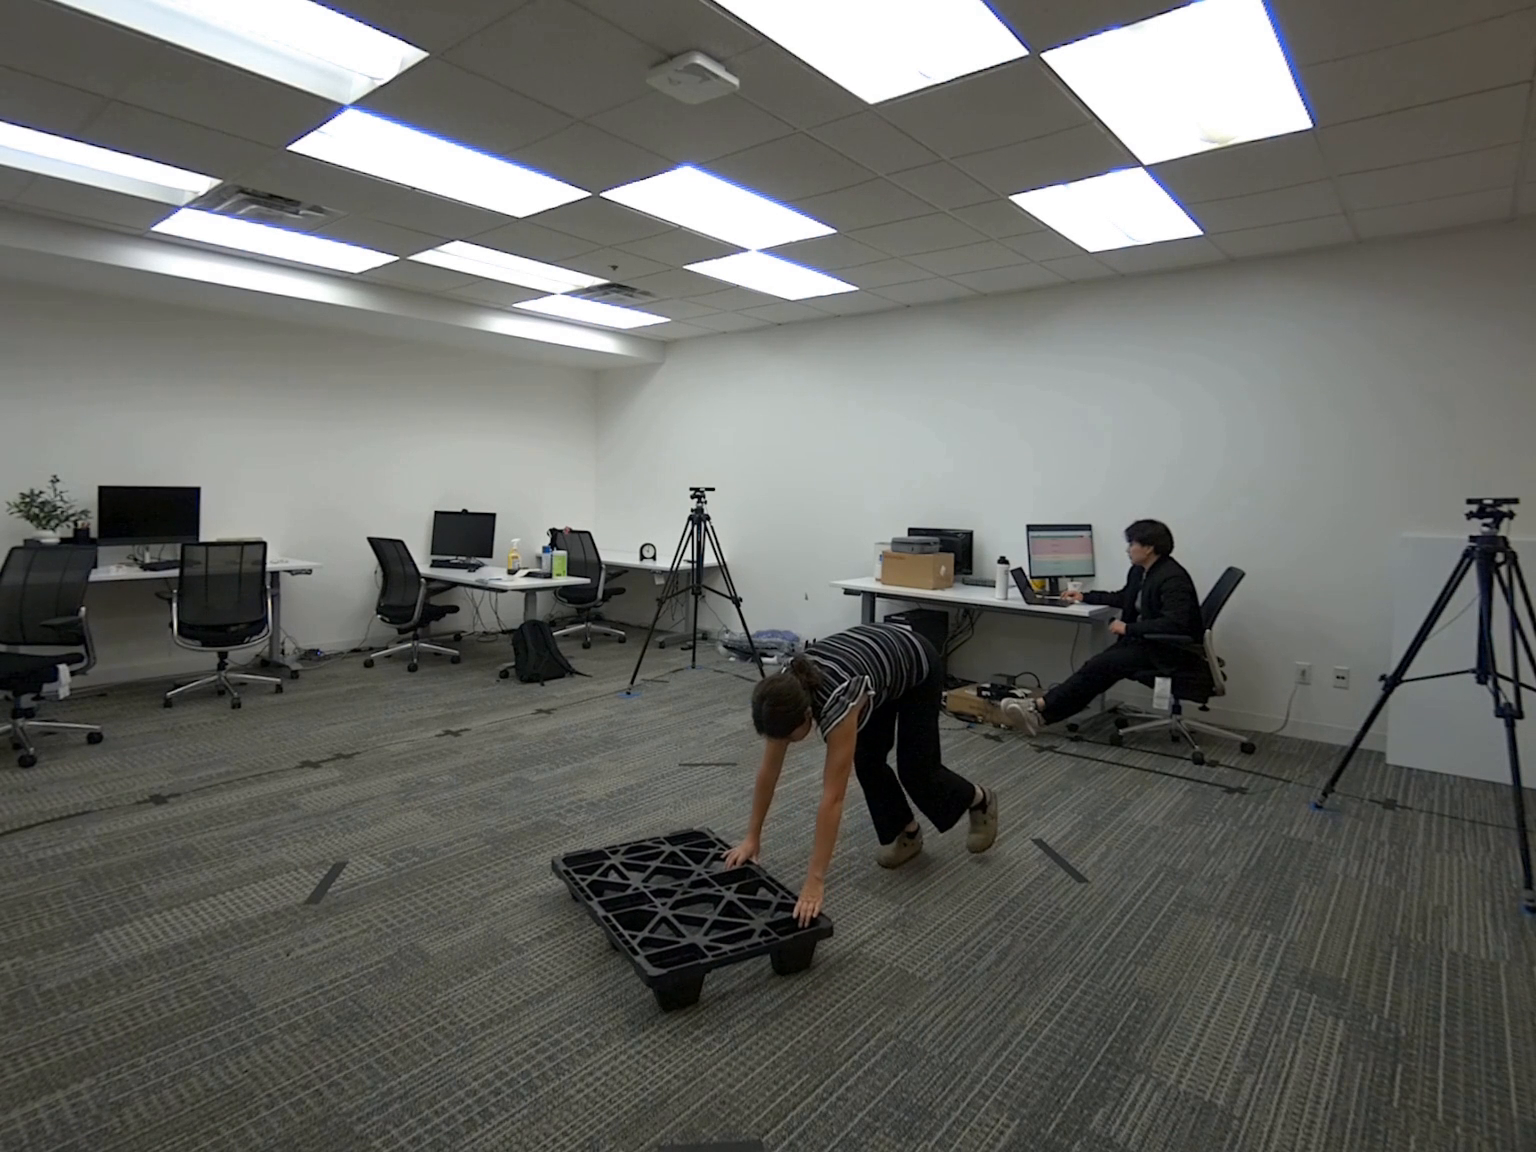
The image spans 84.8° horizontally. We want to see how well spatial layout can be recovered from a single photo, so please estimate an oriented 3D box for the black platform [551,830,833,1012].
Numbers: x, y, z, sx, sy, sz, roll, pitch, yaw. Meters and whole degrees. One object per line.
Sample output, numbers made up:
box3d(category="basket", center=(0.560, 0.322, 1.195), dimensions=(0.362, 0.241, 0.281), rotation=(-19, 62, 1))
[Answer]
box3d(category="black platform", center=(-0.280, 1.039, 2.671), dimensions=(0.589, 0.143, 0.831), rotation=(-3, 7, -31))
